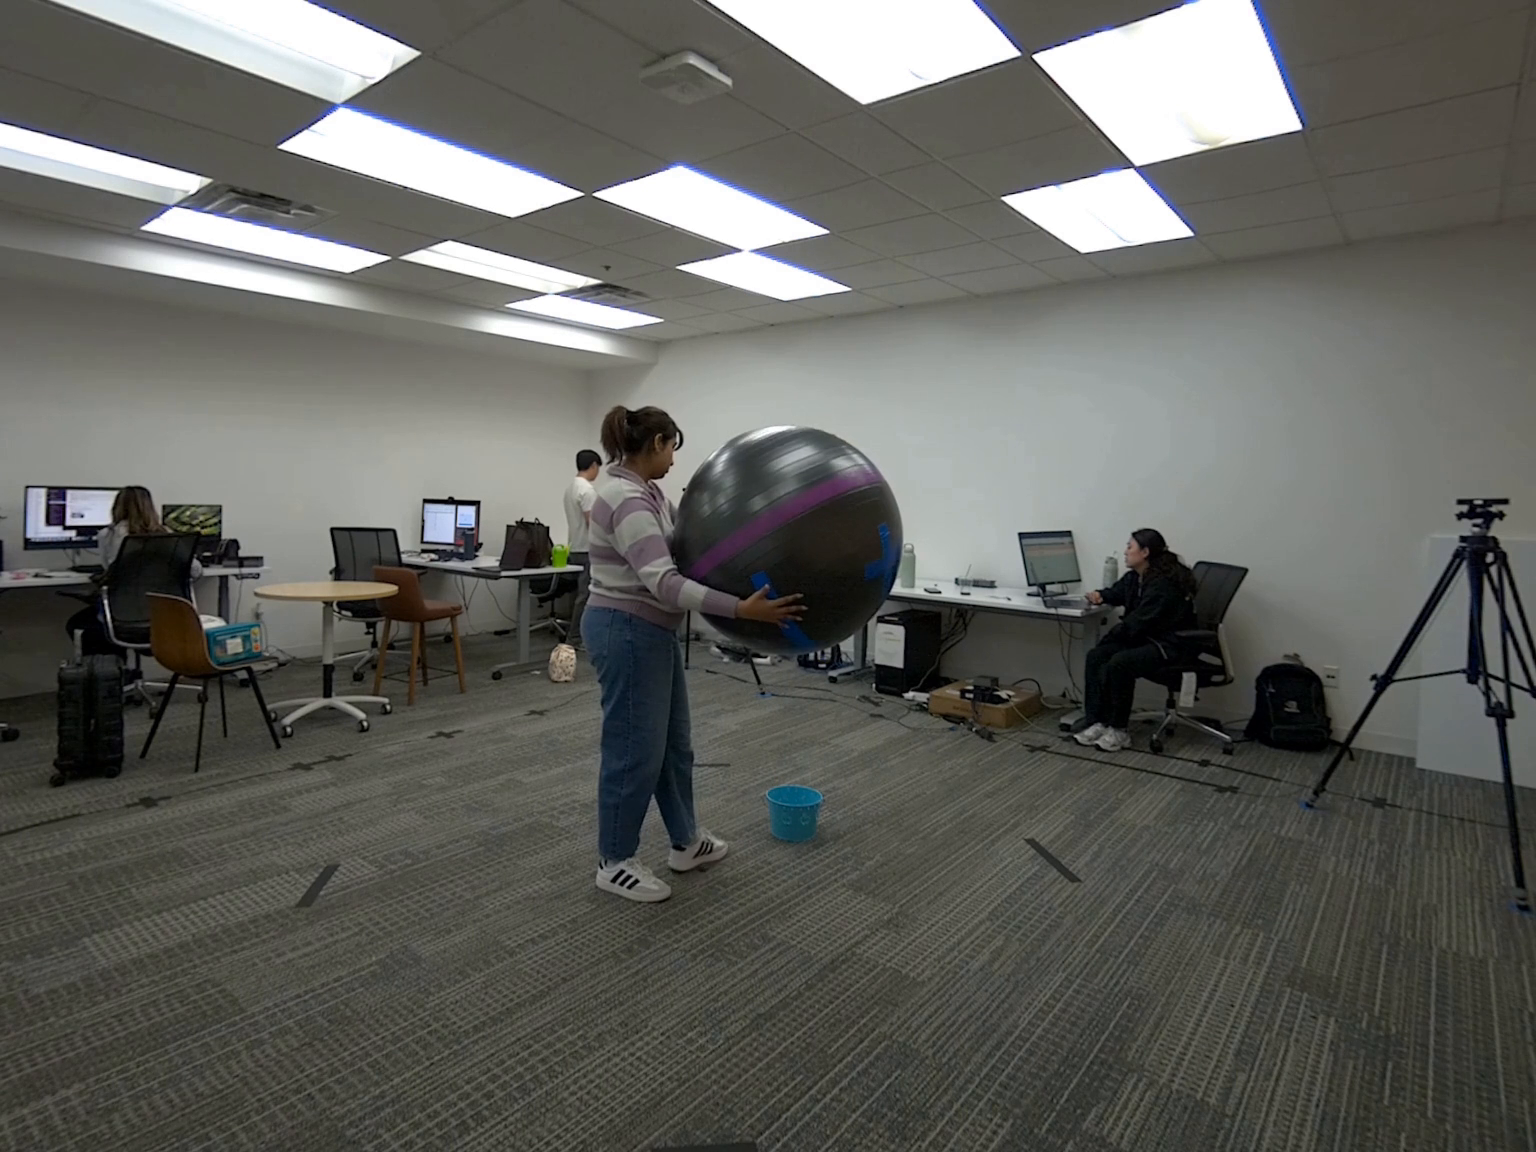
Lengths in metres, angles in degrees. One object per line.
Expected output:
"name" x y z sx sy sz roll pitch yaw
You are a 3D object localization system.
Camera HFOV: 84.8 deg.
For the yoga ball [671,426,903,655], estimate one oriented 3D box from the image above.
"yoga ball" 0.056 -0.118 2.833 0.757 0.756 0.761 1 4 -2
